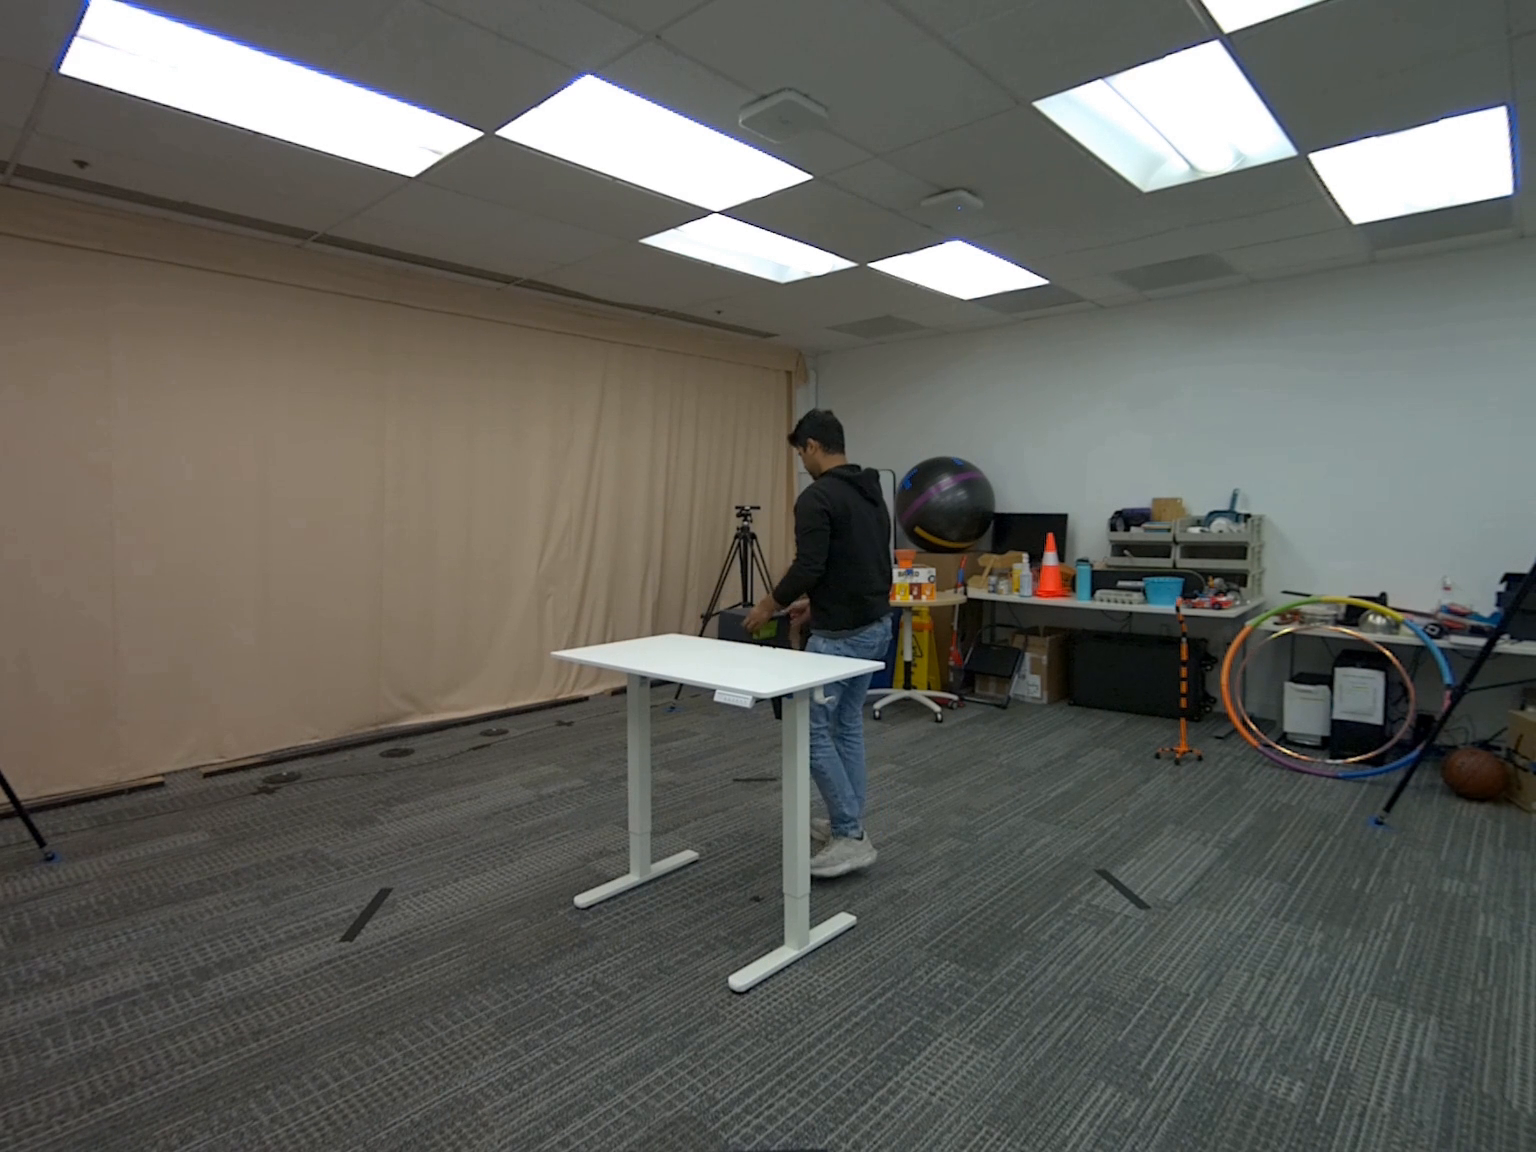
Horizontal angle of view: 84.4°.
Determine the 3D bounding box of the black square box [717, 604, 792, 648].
[{"bbox_3d":[-0.058,0.239,3.563,0.224,0.155,0.221,8,6,35],"label":"black square box"}]
